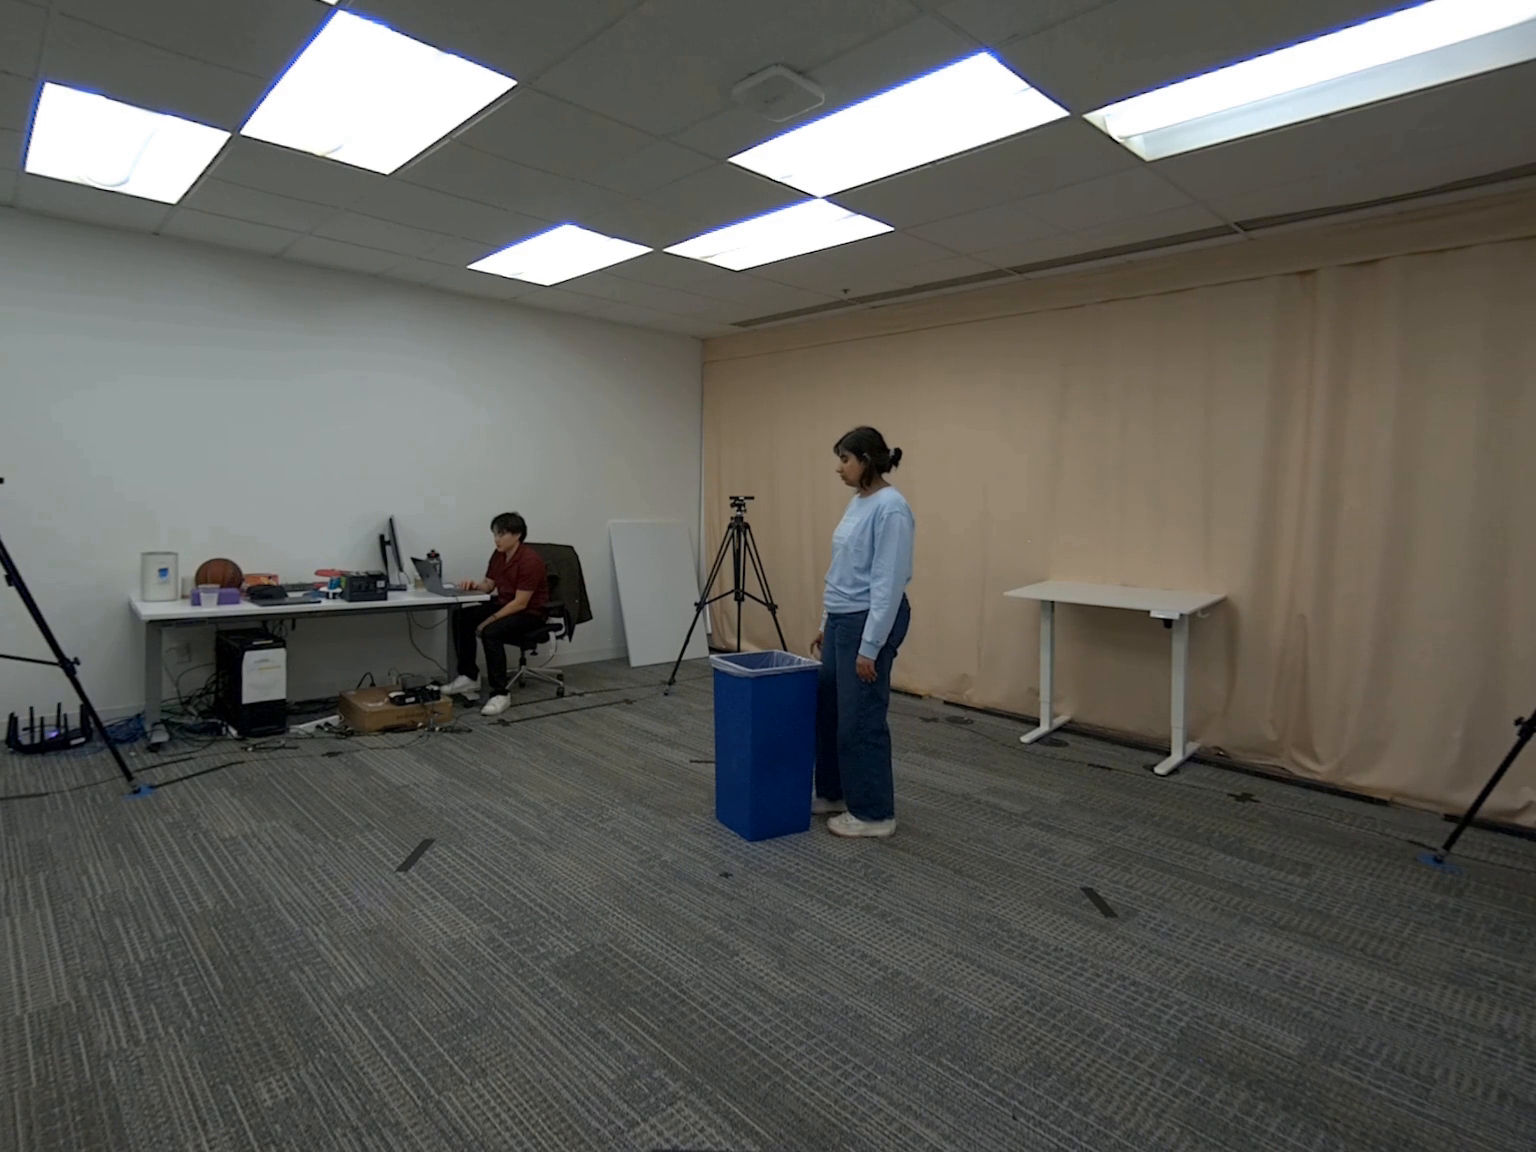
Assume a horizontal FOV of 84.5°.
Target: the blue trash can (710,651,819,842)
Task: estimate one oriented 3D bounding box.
[{"bbox_3d":[-0.028,0.707,3.584,0.366,0.712,0.387,0,3,-32],"label":"blue trash can"}]
